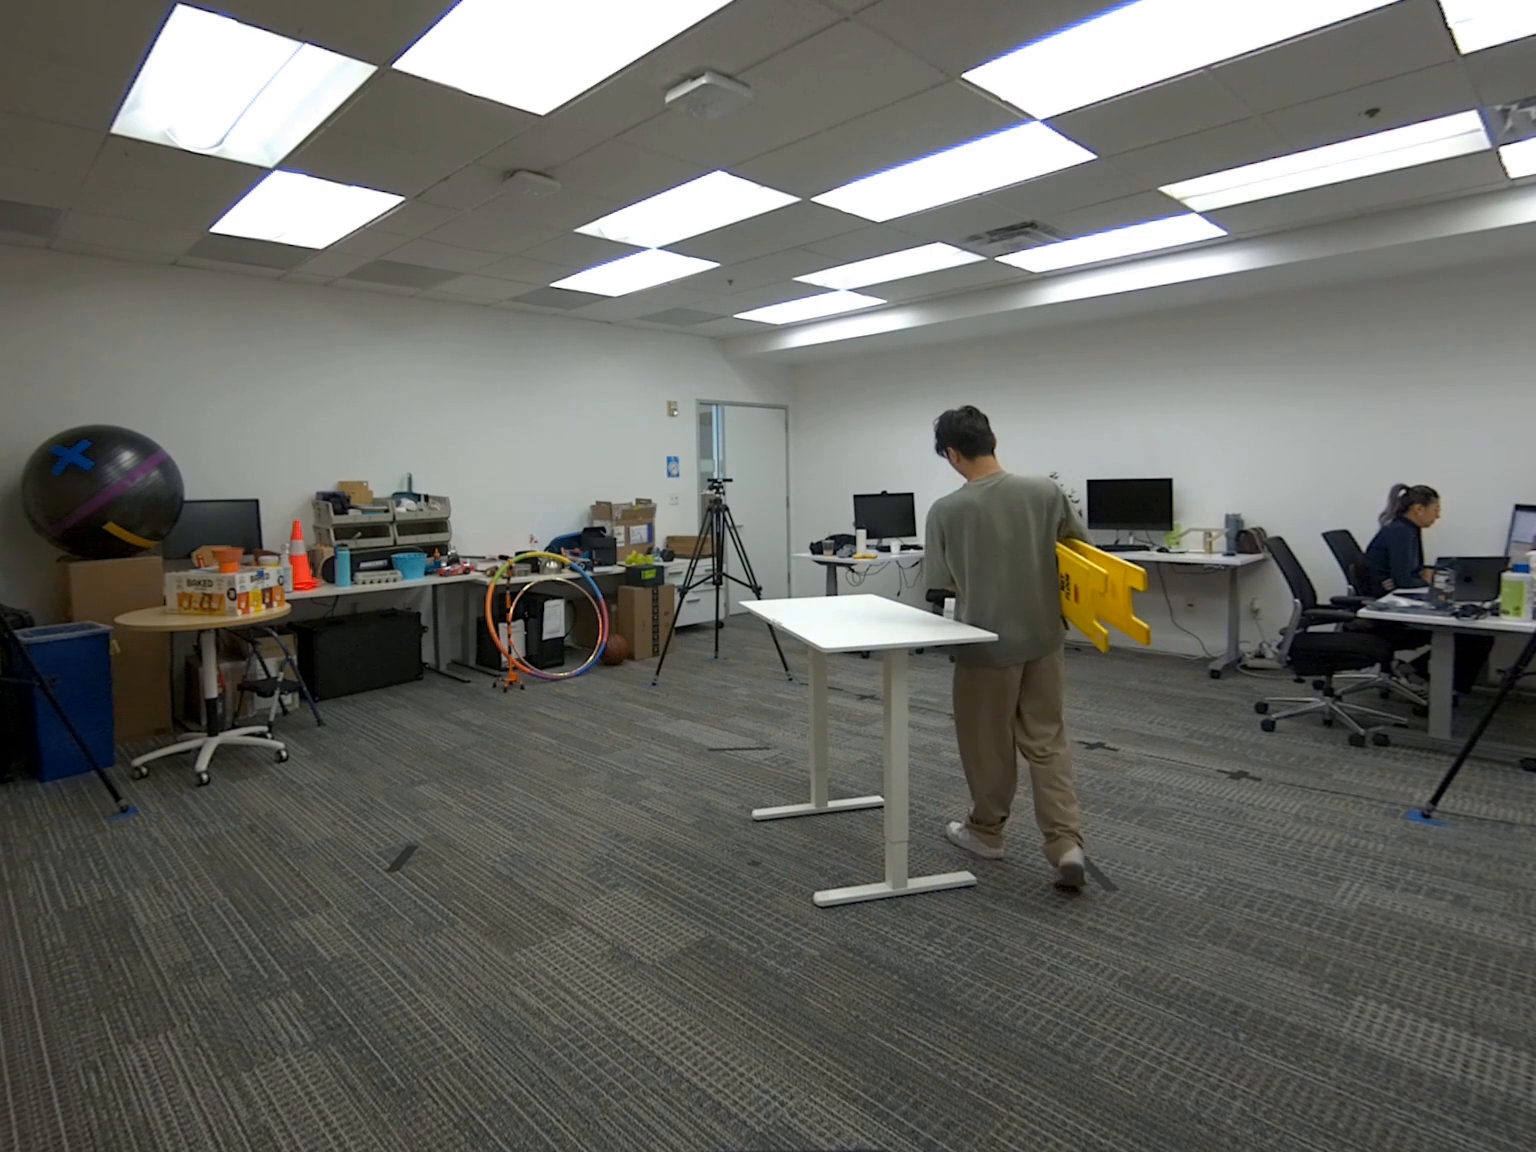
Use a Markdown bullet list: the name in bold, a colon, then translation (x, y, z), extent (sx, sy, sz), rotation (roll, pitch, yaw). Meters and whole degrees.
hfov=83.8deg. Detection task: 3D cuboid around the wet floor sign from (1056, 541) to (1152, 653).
- **wet floor sign**: translation (1.037, 0.004, 2.958), extent (0.287, 0.277, 0.665), rotation (-9, 22, -13)
